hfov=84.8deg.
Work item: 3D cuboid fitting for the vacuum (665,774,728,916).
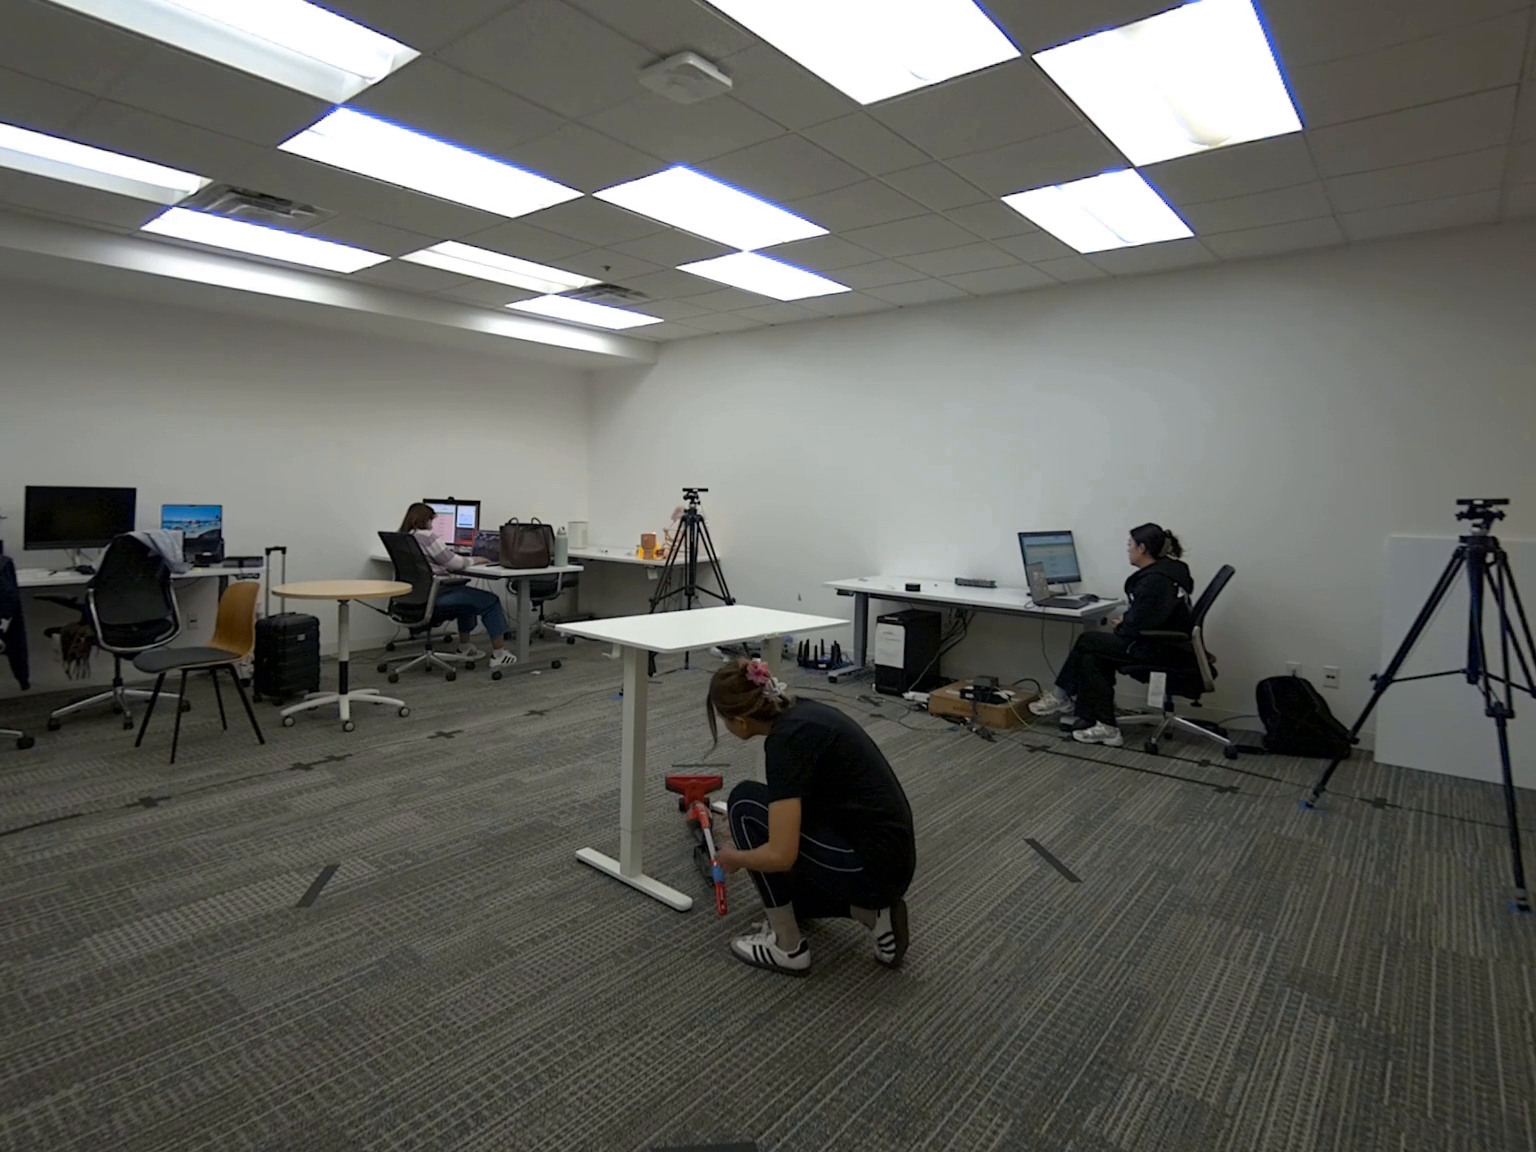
[{"bbox_3d":[-0.240,0.995,3.199,0.250,0.143,1.066,0,8,-10],"label":"vacuum"}]
